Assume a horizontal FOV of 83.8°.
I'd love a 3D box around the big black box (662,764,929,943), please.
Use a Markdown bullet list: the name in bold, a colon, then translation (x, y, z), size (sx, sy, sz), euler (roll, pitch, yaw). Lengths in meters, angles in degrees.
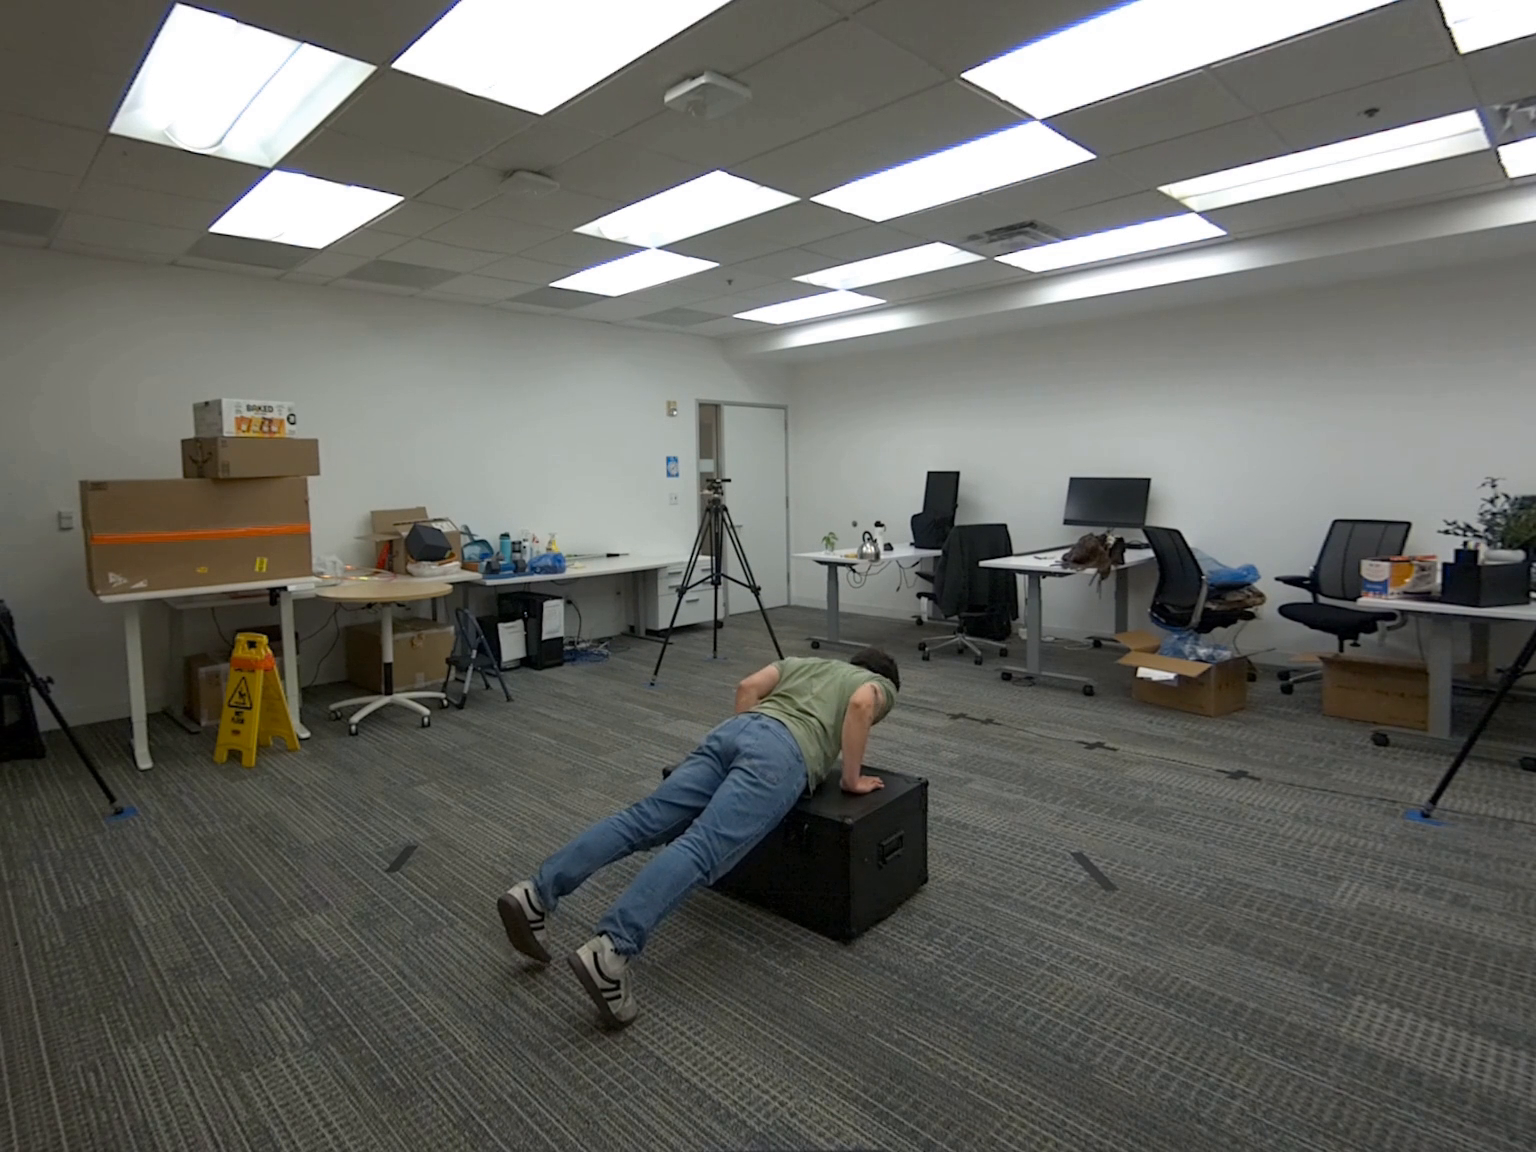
- **big black box**: translation (0.063, 0.873, 2.986), size (0.888, 0.394, 0.508), euler (6, 8, 39)
